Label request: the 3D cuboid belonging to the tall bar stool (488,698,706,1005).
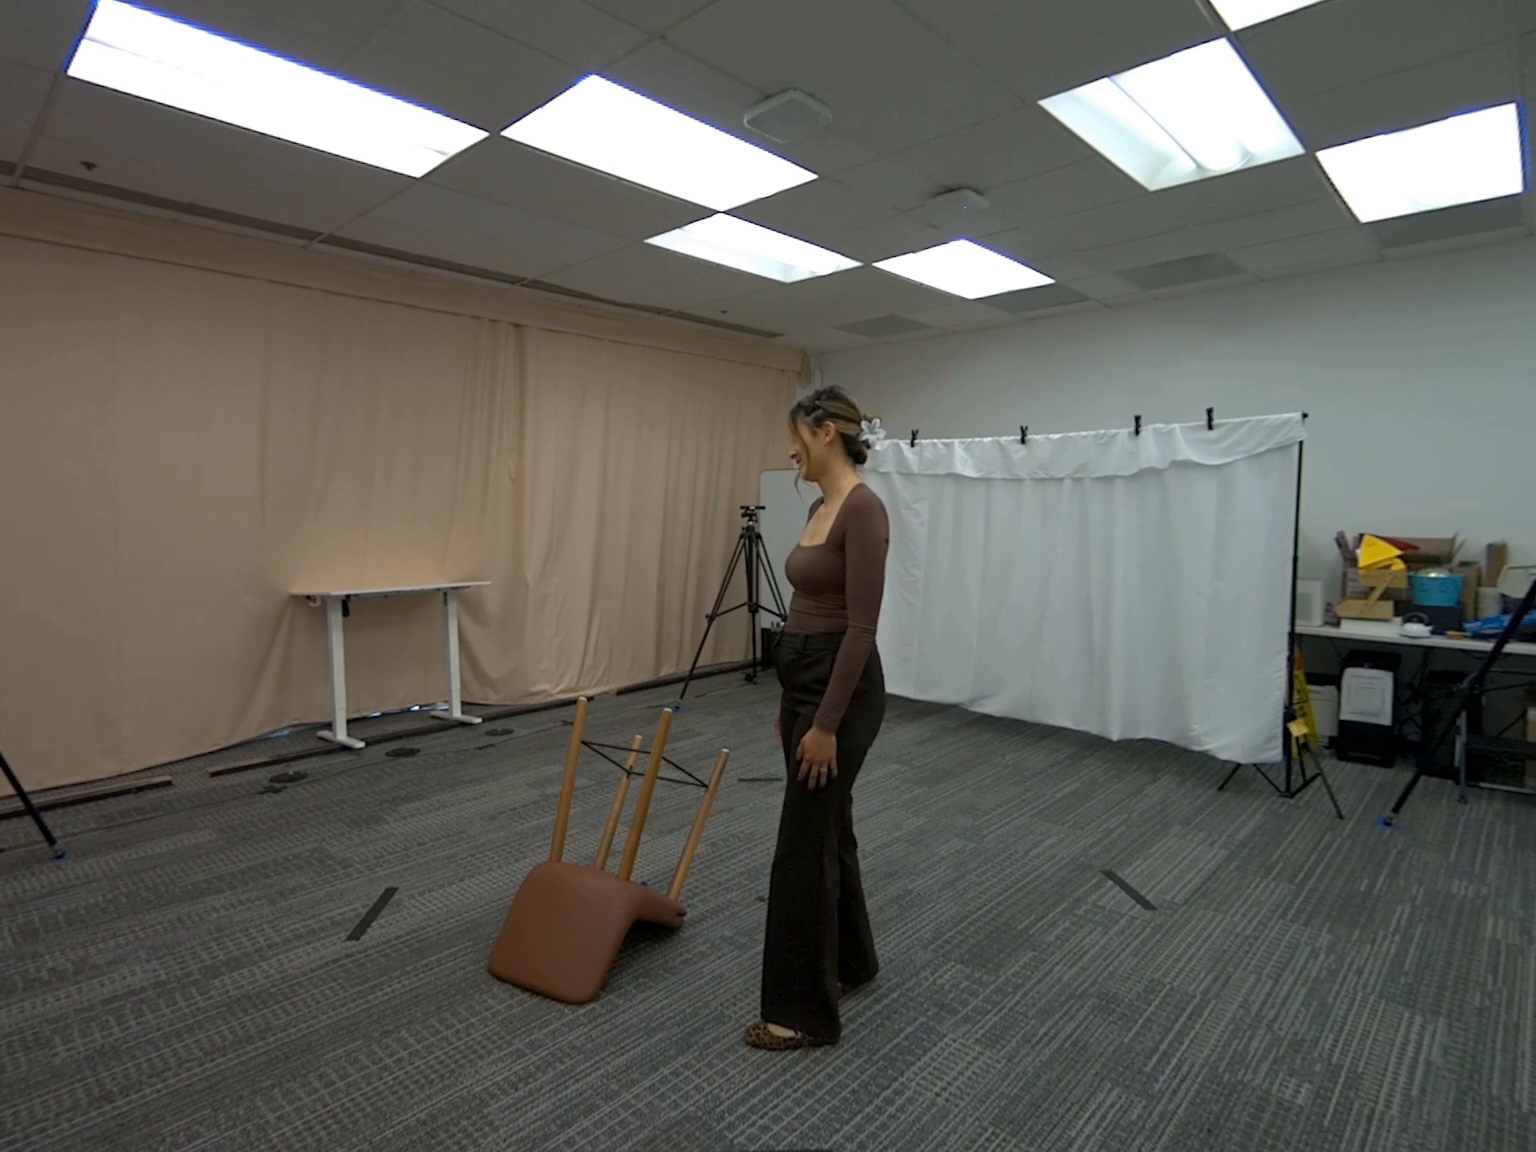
[{"bbox_3d":[-0.500,0.914,2.779,0.469,0.896,0.452,1,-30,27],"label":"tall bar stool"}]
